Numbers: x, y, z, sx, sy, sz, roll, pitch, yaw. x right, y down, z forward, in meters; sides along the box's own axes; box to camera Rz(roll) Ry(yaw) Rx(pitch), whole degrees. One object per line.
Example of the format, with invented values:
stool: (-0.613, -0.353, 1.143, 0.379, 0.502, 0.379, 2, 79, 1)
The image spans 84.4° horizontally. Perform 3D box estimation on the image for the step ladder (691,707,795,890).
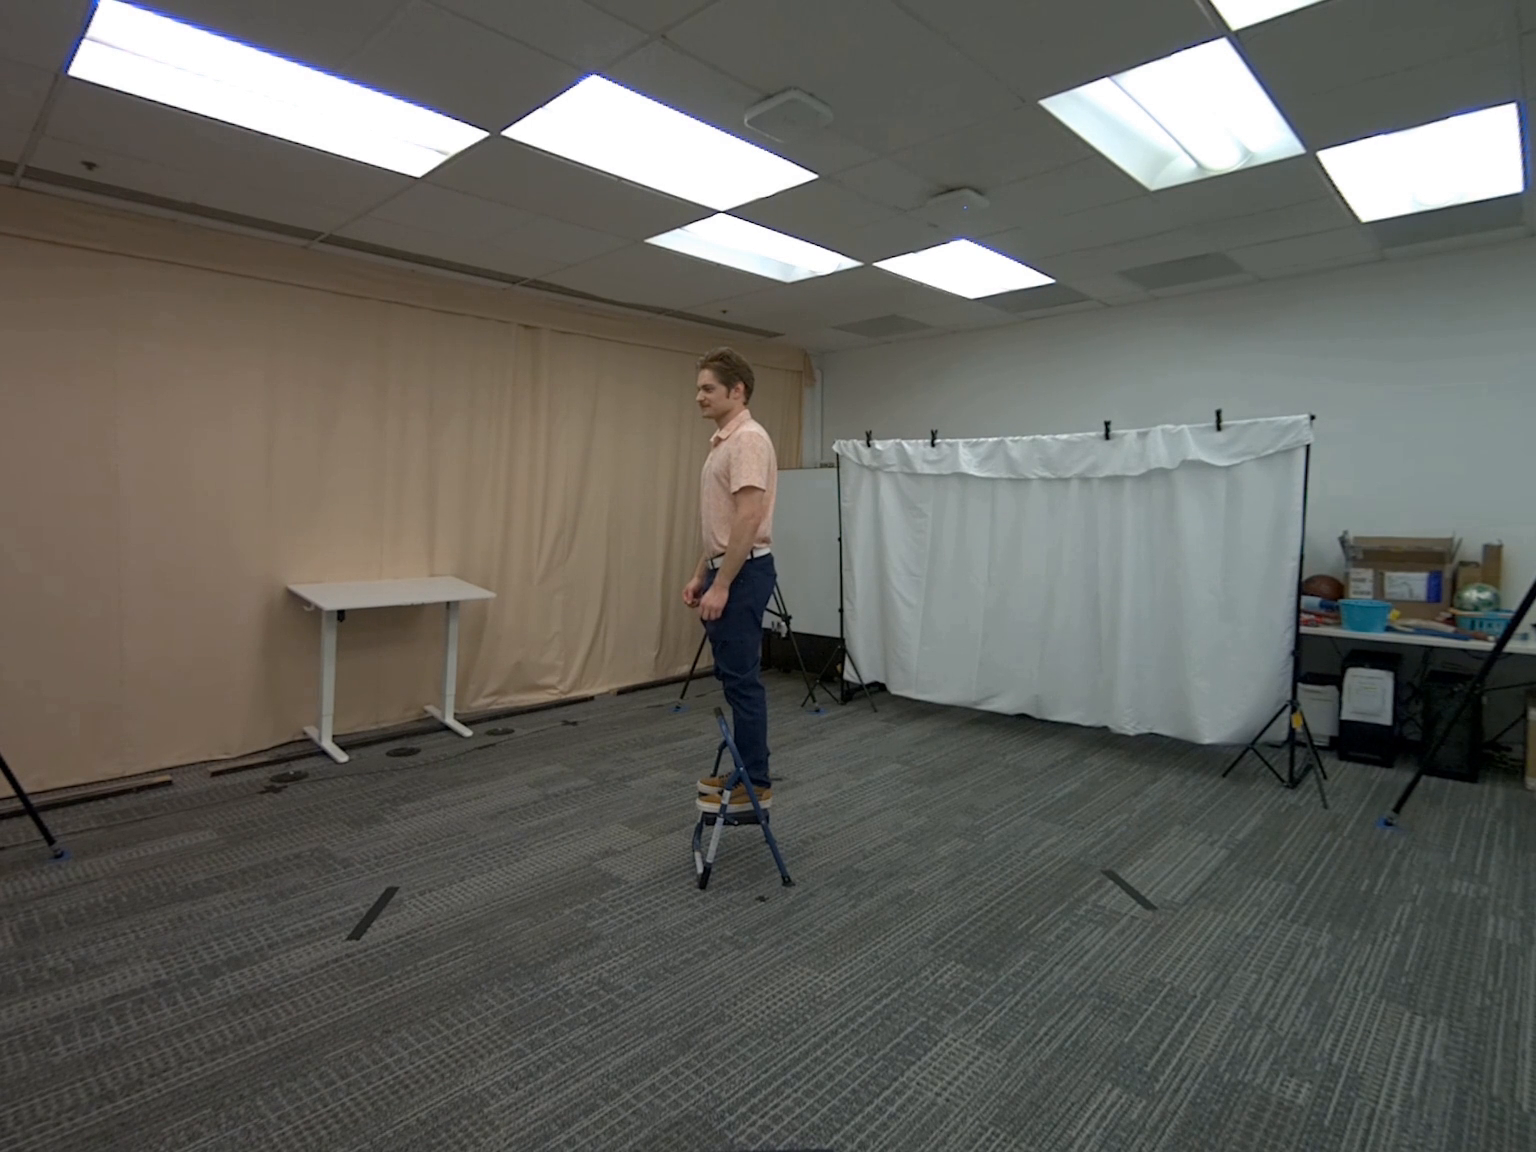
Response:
step ladder: (-0.113, 0.823, 3.259, 0.346, 0.605, 0.435, 0, 3, -9)
